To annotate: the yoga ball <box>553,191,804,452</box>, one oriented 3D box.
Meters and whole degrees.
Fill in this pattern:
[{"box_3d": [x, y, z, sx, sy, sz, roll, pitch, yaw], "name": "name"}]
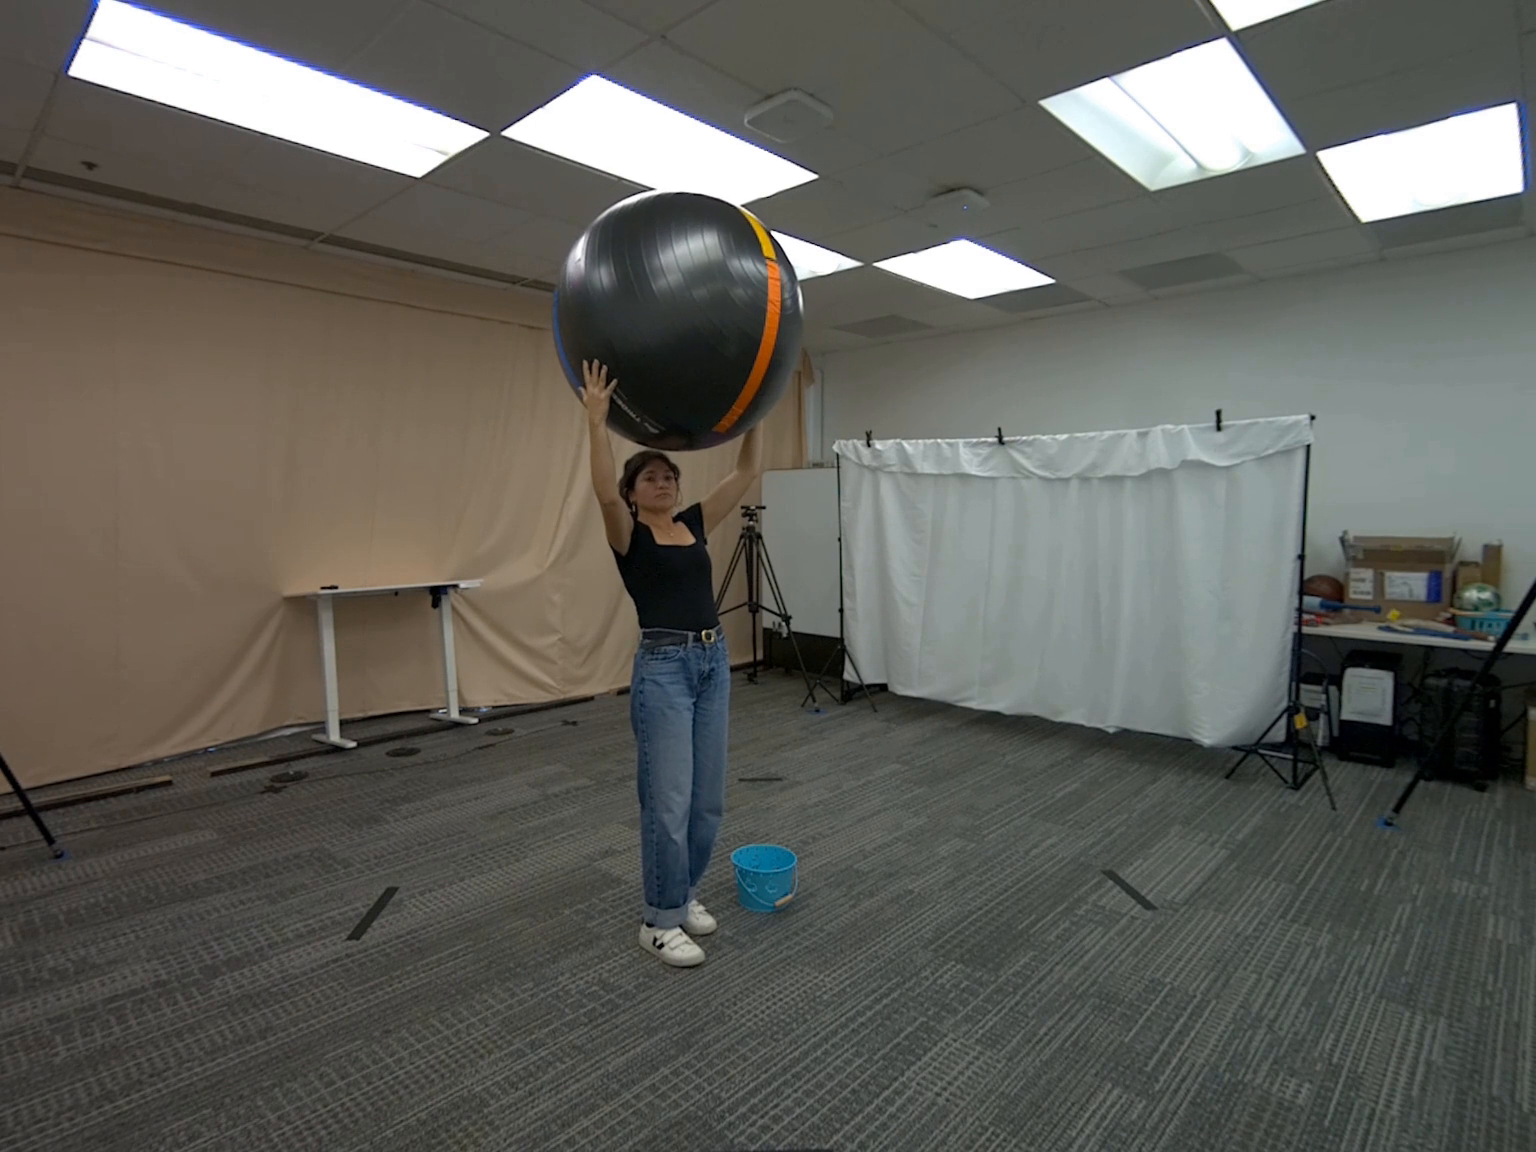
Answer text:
[{"box_3d": [-0.269, -0.756, 2.549, 0.757, 0.756, 0.760, 0, 4, -2], "name": "yoga ball"}]
